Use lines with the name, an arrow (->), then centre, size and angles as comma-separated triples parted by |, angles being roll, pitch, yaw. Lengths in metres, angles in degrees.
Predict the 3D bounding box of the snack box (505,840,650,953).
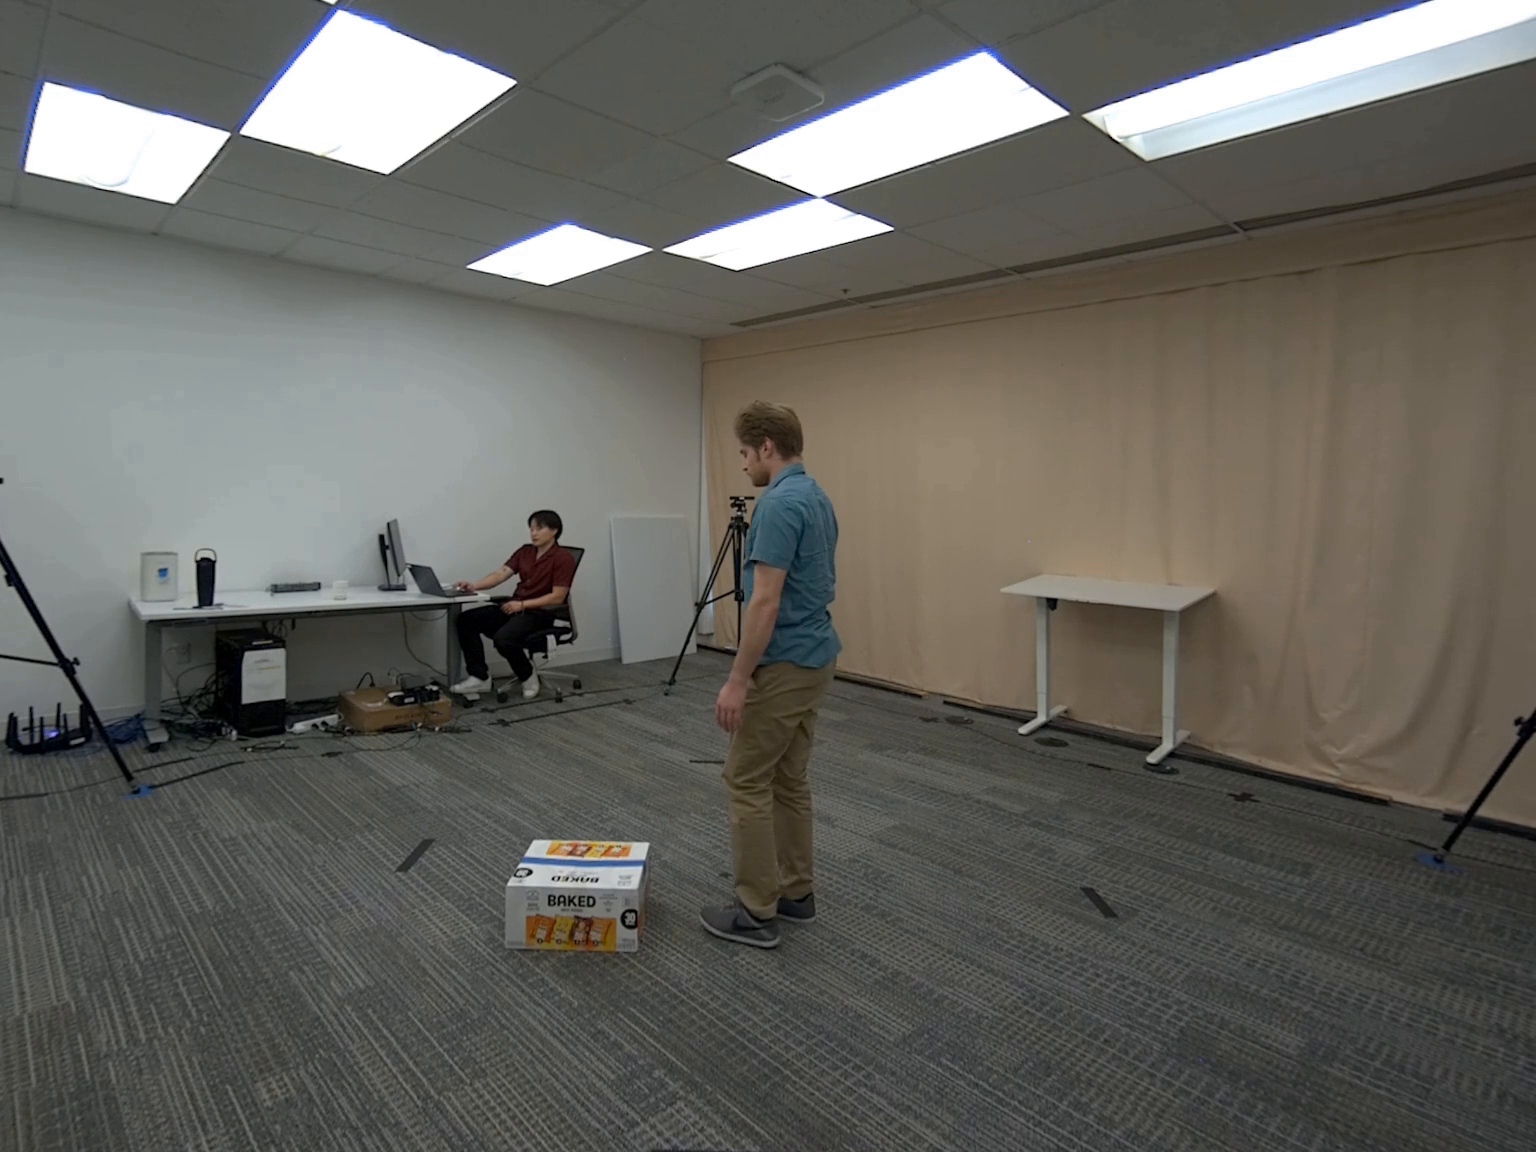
snack box -> -0.611, 1.021, 2.721 | 0.405, 0.205, 0.341 | 1, 4, 0
